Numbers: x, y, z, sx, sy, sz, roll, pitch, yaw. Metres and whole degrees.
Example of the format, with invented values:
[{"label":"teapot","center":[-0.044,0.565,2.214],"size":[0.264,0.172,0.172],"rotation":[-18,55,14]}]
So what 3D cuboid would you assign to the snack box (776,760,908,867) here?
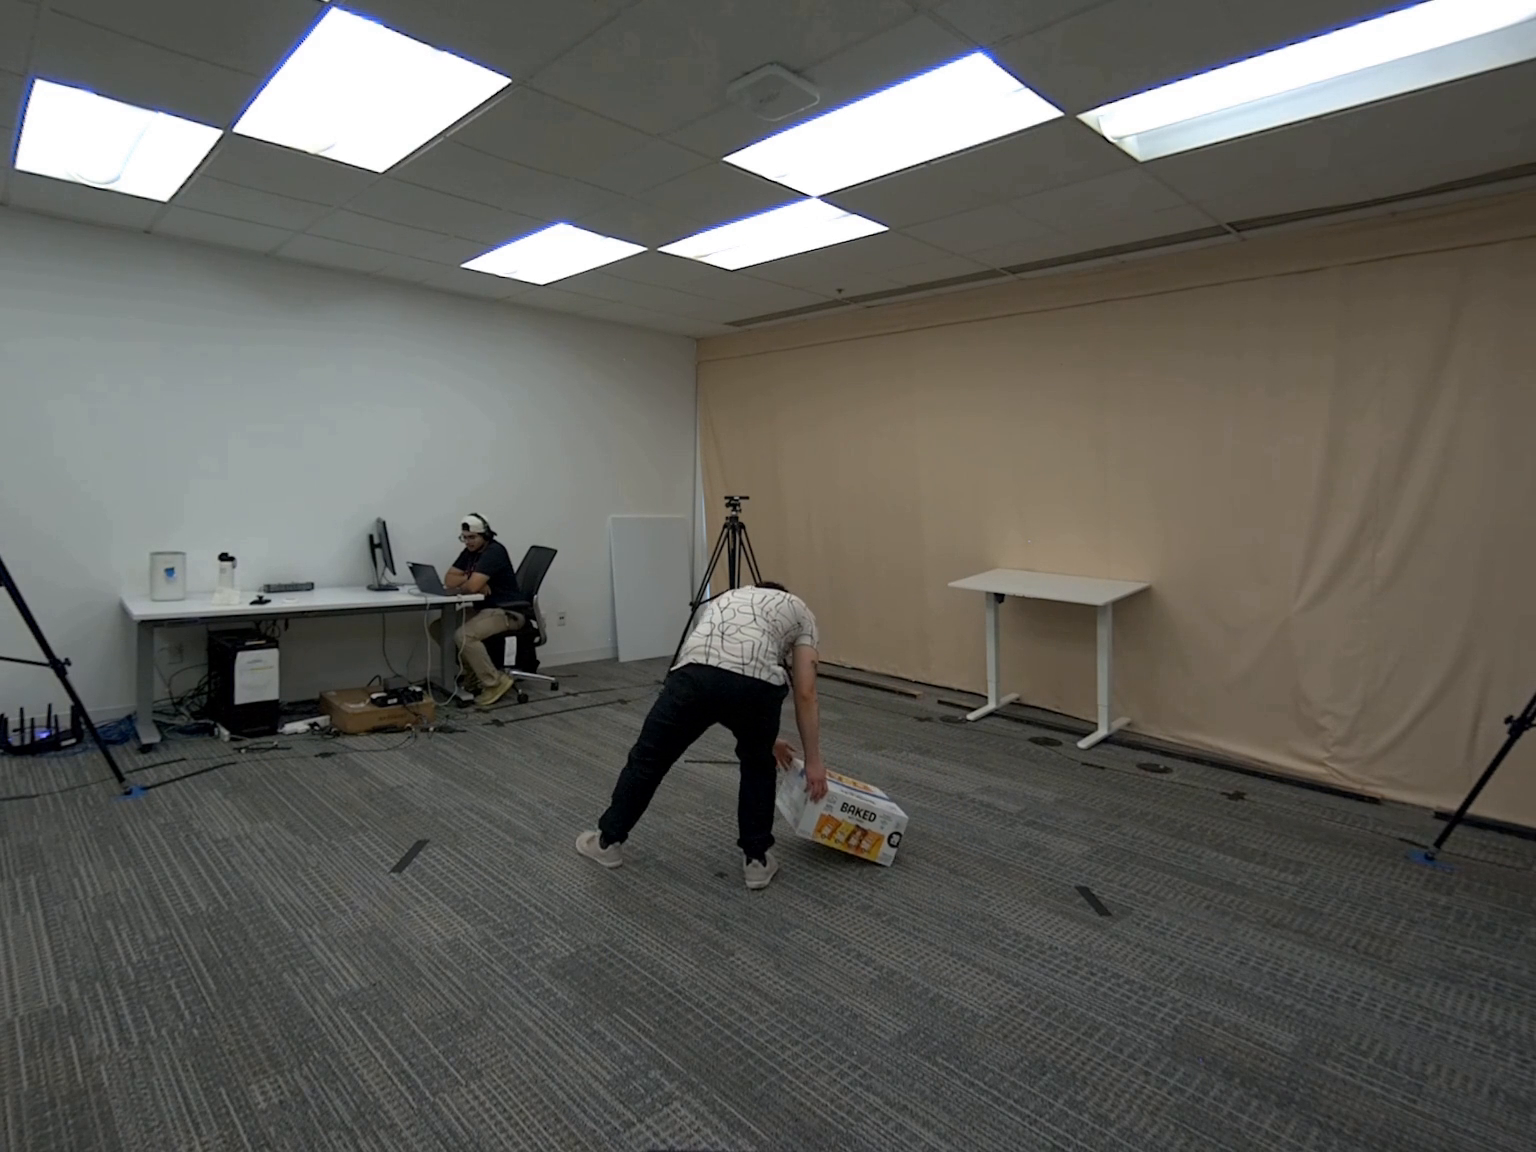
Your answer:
[{"label":"snack box","center":[0.276,0.928,3.332],"size":[0.400,0.206,0.344],"rotation":[22,0,-12]}]
